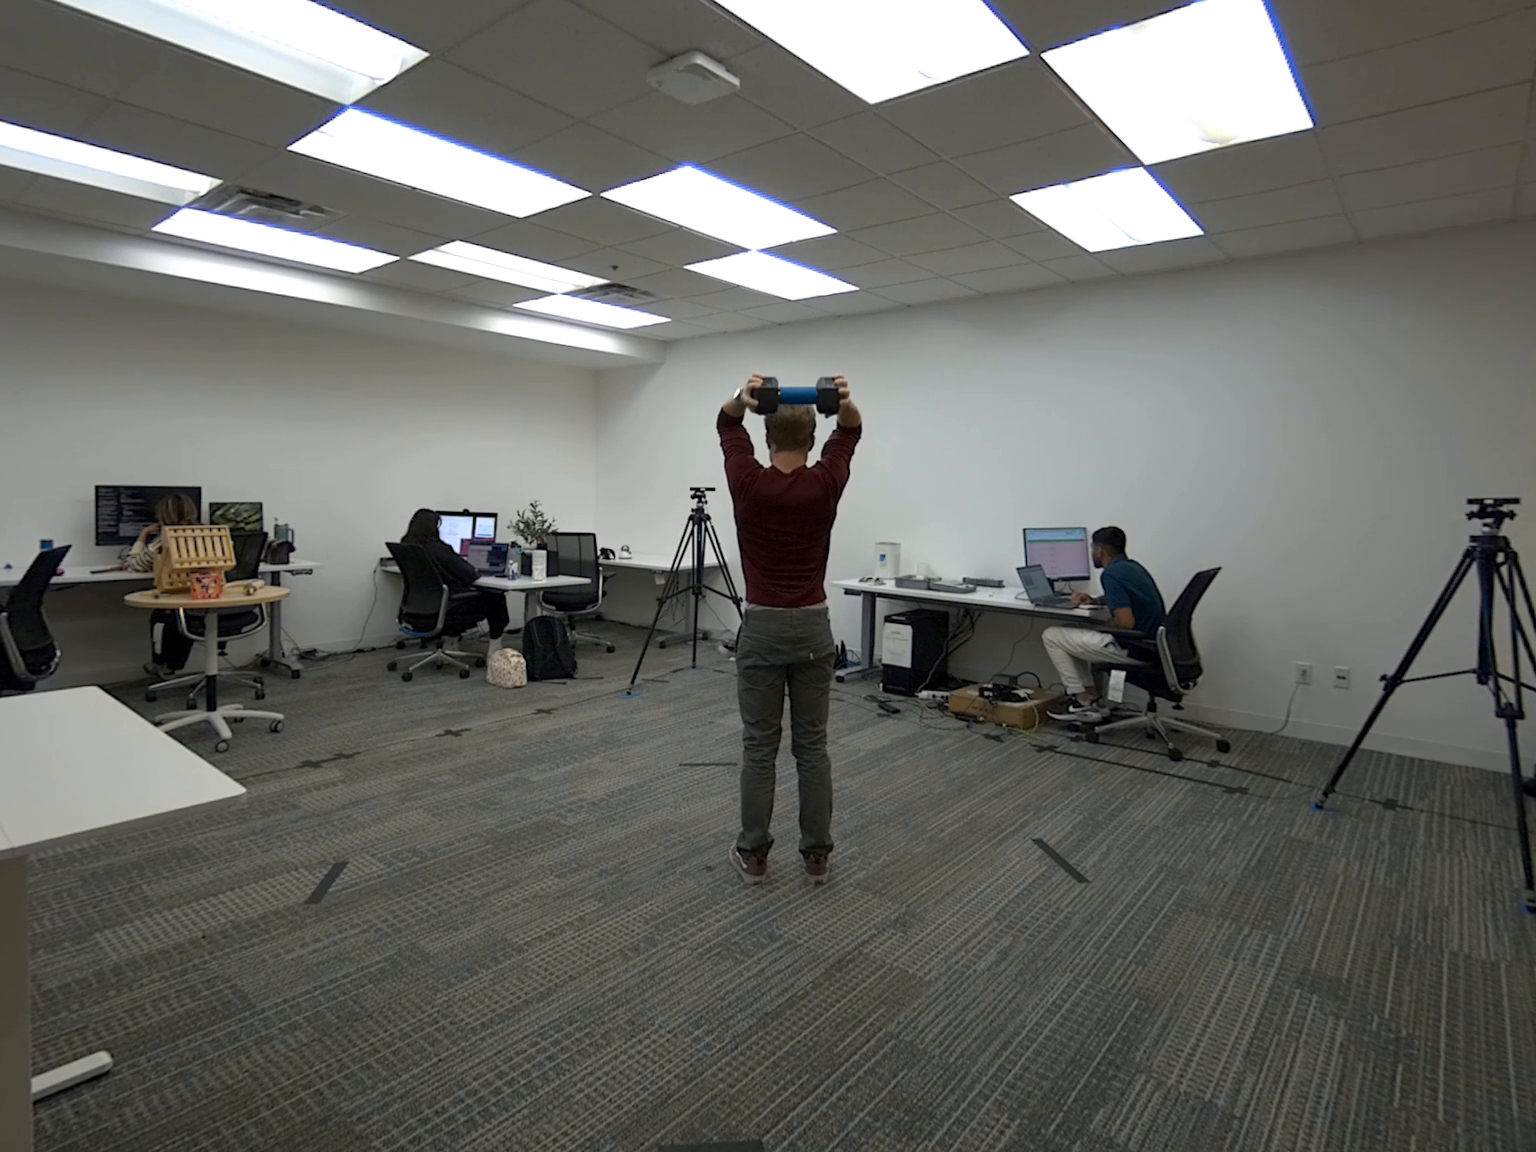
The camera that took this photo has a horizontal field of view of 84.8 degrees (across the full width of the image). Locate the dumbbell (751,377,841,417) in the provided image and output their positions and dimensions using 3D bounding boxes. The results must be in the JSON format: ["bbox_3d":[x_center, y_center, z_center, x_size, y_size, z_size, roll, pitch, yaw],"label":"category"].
[{"bbox_3d":[0.088,-0.614,2.858,0.296,0.122,0.109,1,10,8],"label":"dumbbell"}]
